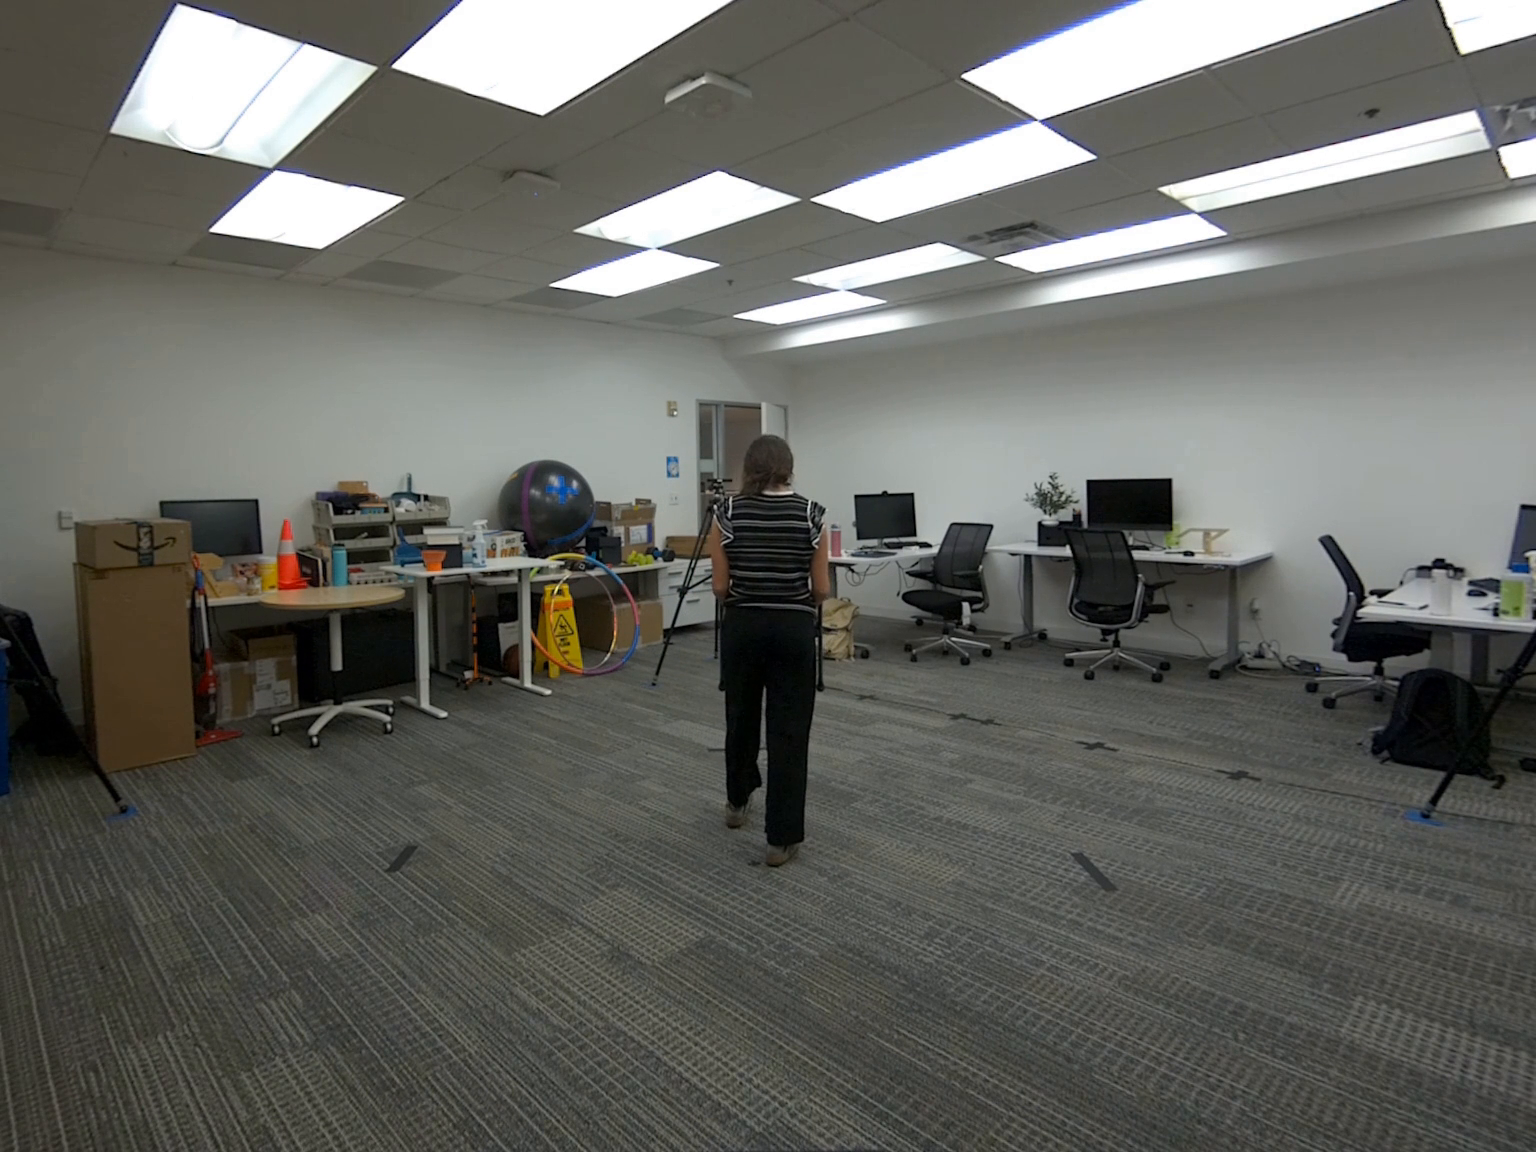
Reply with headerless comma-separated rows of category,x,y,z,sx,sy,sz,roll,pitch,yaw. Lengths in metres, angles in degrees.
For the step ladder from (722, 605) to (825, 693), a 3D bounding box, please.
step ladder,0.015,0.120,3.420,0.431,0.590,0.358,-2,34,1
